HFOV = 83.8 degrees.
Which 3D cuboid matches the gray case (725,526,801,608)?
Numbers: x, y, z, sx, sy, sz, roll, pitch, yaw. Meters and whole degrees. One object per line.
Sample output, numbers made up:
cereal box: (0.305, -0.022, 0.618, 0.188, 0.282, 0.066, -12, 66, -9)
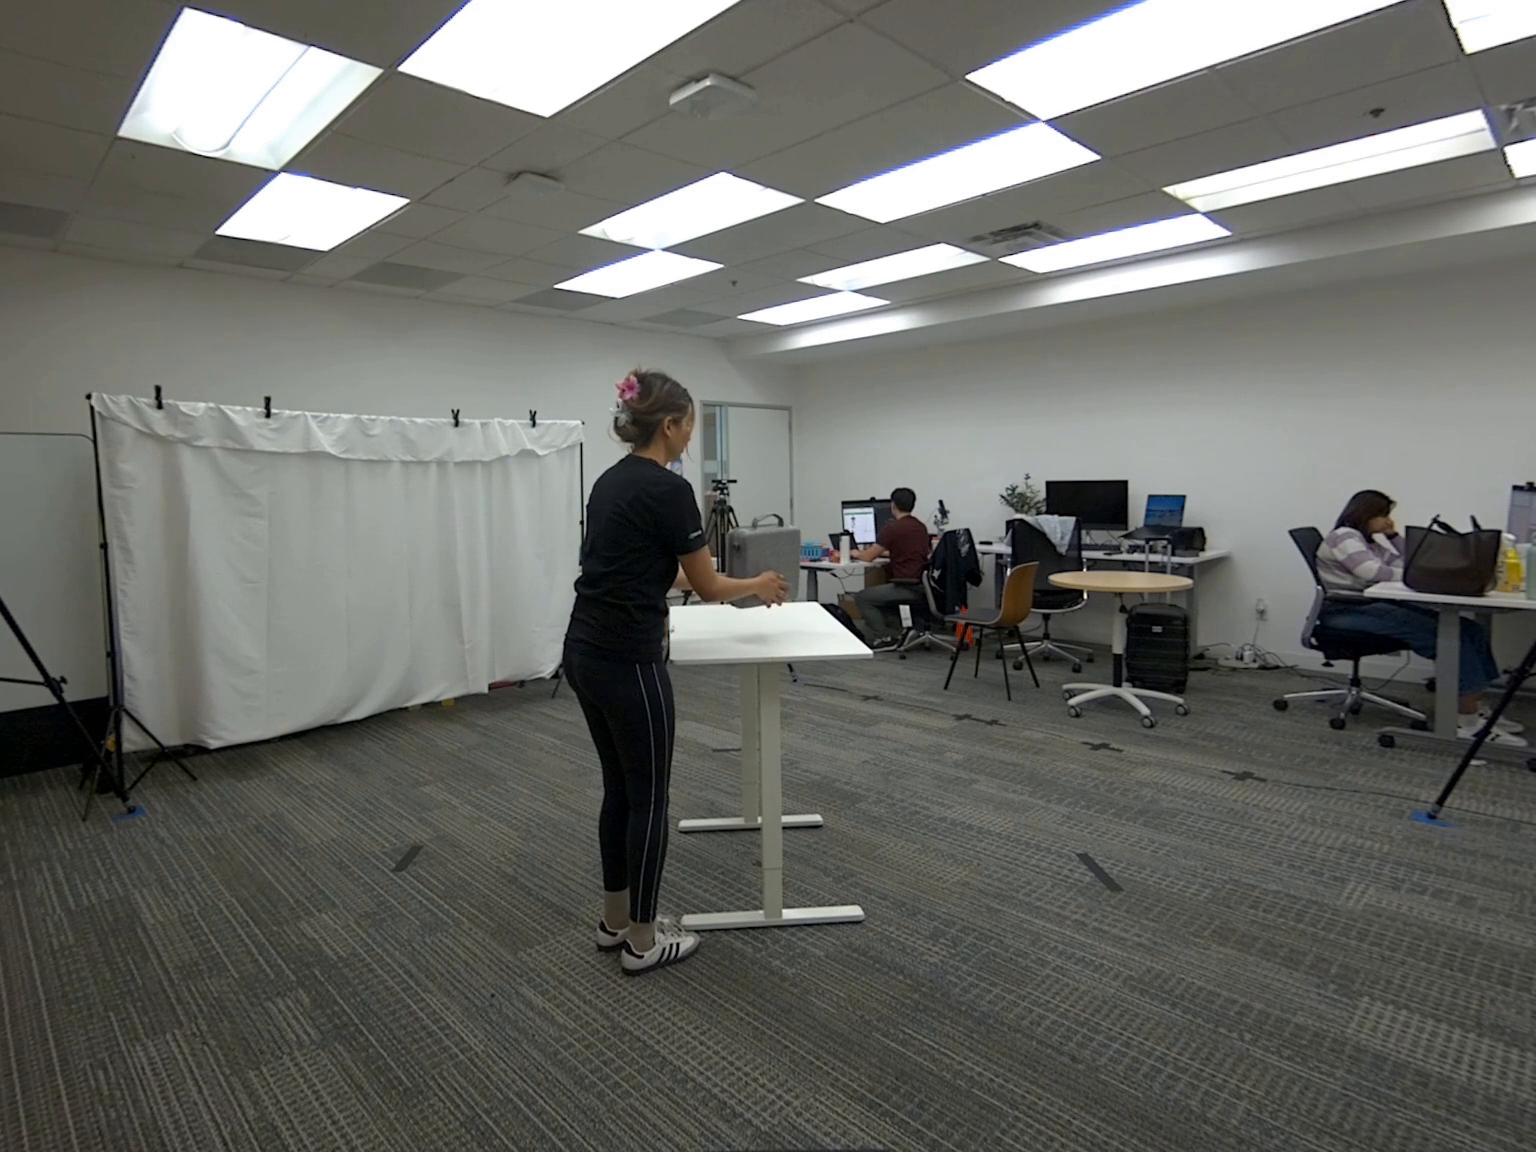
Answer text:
gray case: (-0.007, -0.041, 2.750, 0.251, 0.258, 0.108, -8, 12, -39)
